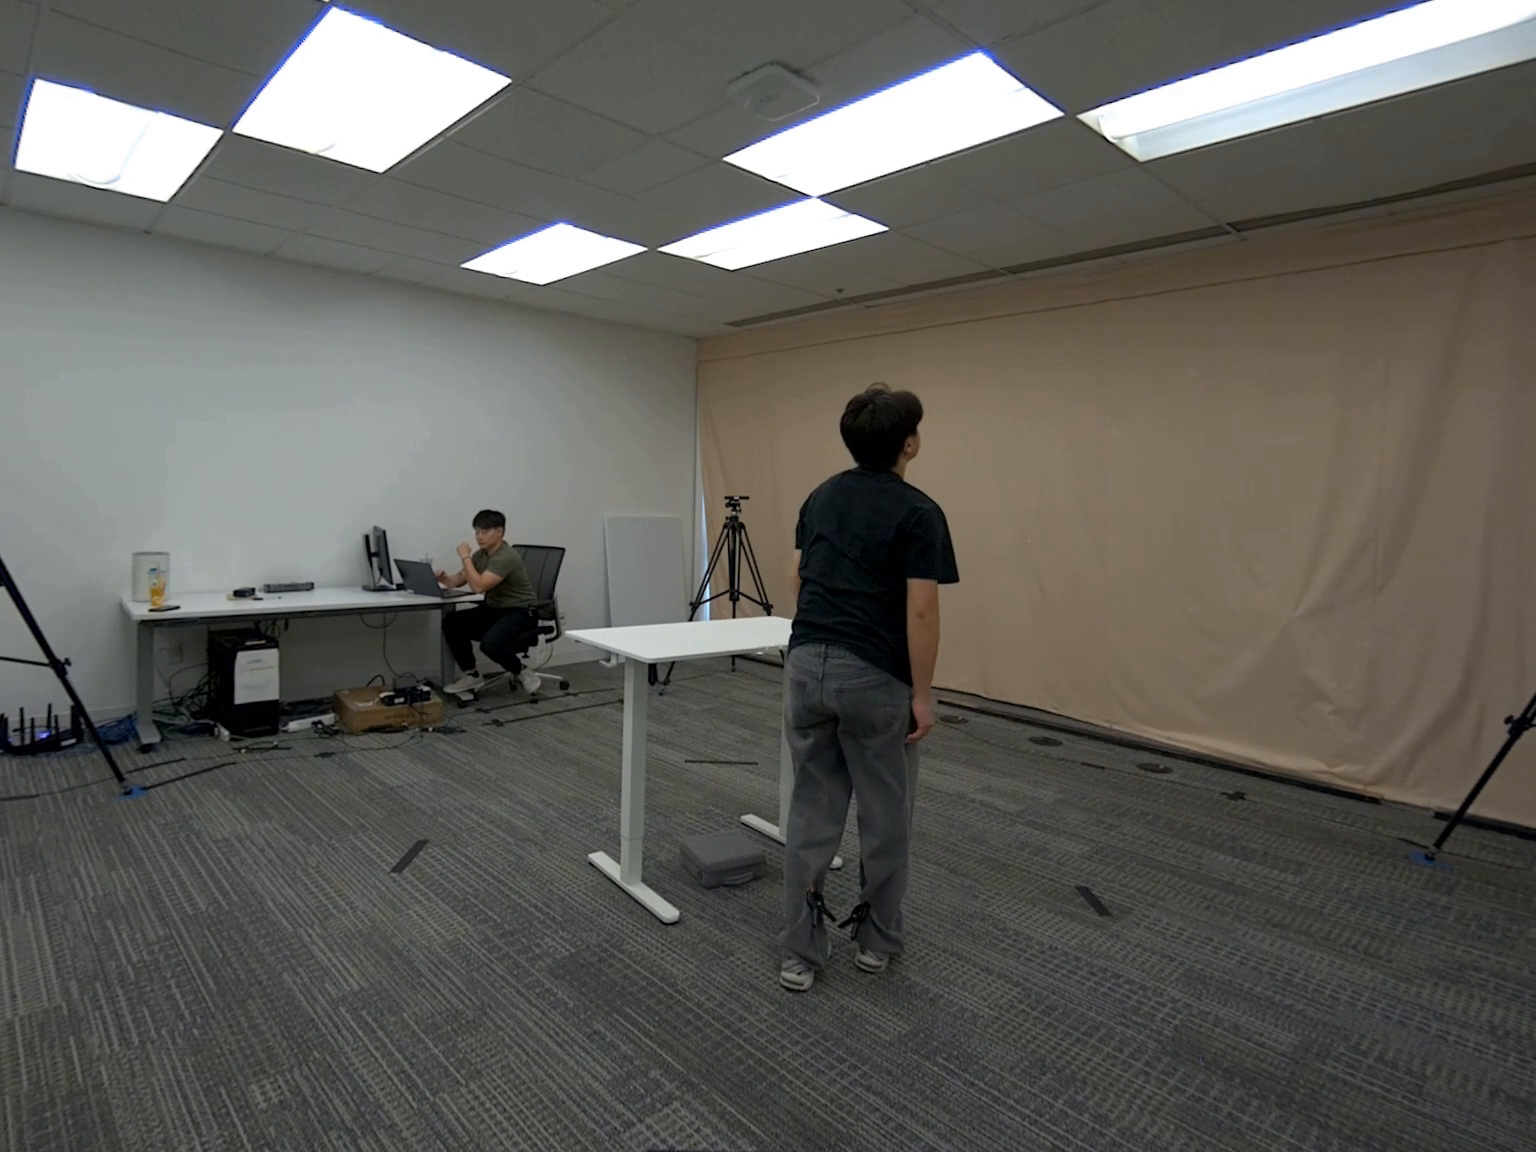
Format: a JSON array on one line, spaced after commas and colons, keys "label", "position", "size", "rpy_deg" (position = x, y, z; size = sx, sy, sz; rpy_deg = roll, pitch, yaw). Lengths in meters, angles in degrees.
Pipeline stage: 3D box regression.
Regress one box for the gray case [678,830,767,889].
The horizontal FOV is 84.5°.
[{"label": "gray case", "position": [-0.180, 1.043, 3.137], "size": [0.258, 0.103, 0.293], "rpy_deg": [-2, 6, -28]}]
